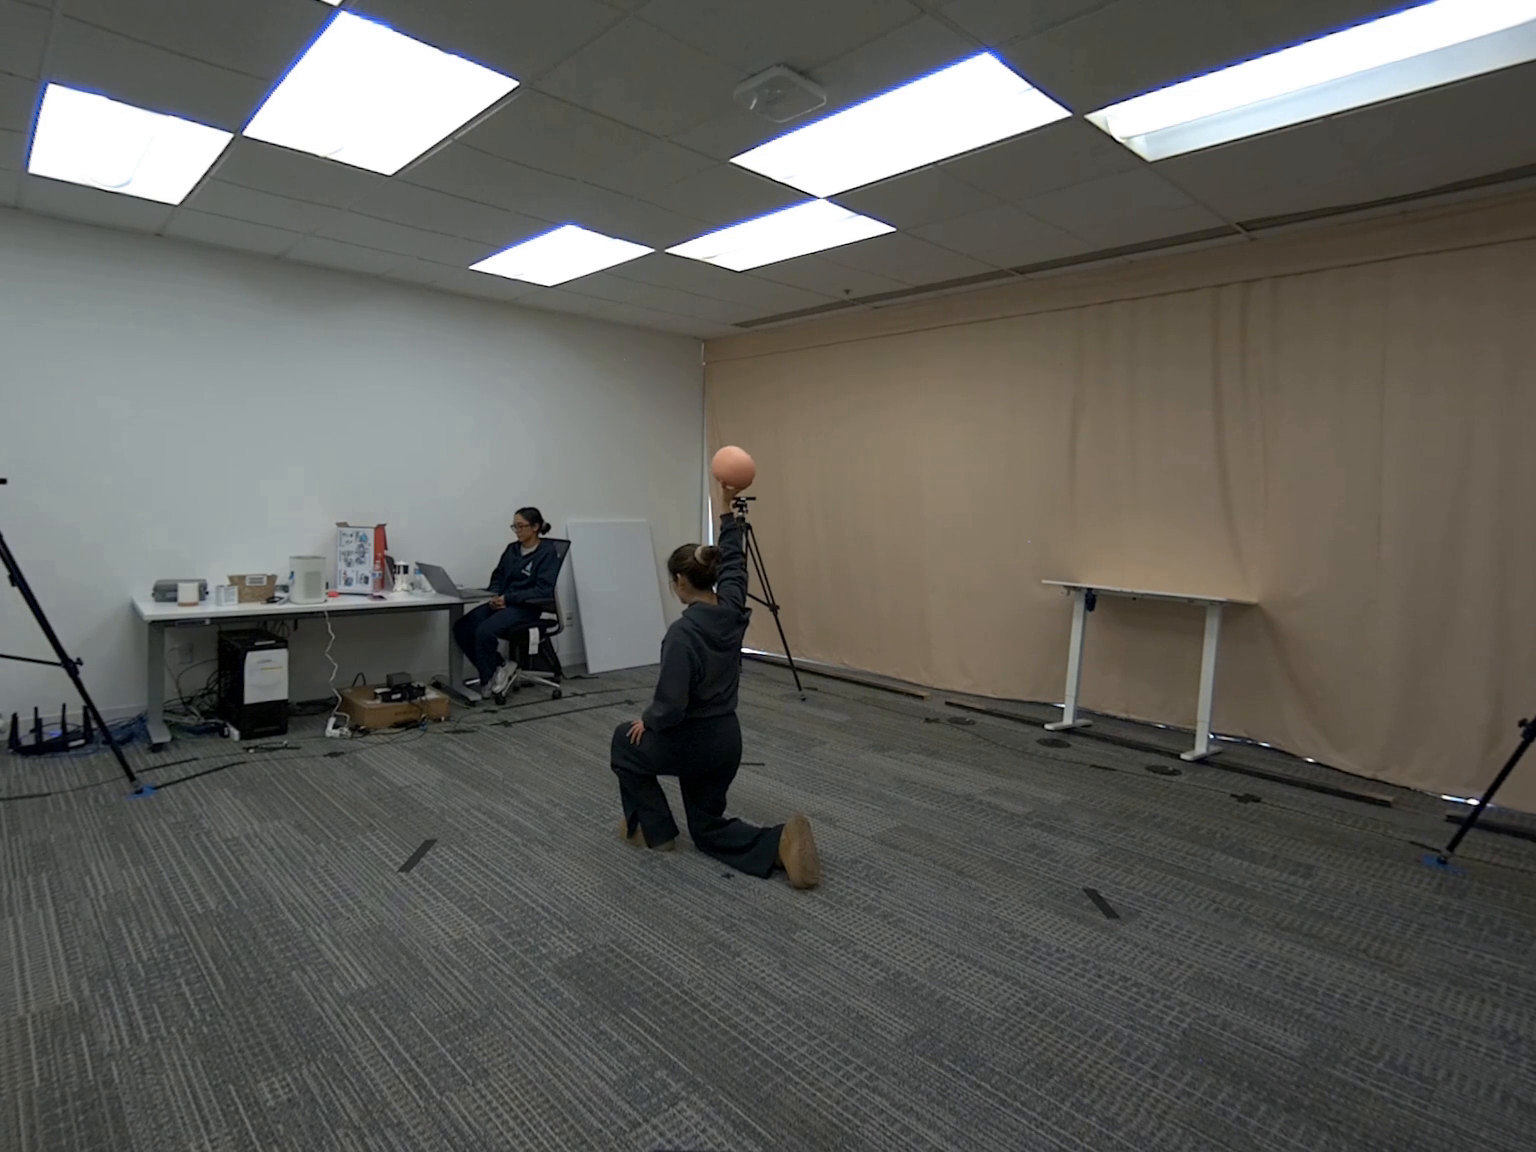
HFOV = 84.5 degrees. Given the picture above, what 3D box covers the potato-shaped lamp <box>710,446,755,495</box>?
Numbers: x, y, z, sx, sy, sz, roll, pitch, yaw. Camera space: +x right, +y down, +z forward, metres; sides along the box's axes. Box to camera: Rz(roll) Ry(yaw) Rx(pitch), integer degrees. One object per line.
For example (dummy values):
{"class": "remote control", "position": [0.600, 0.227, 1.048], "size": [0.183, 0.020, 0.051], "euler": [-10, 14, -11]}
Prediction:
{"class": "potato-shaped lamp", "position": [-0.149, -0.440, 3.474], "size": [0.167, 0.164, 0.204], "euler": [7, 15, -40]}
